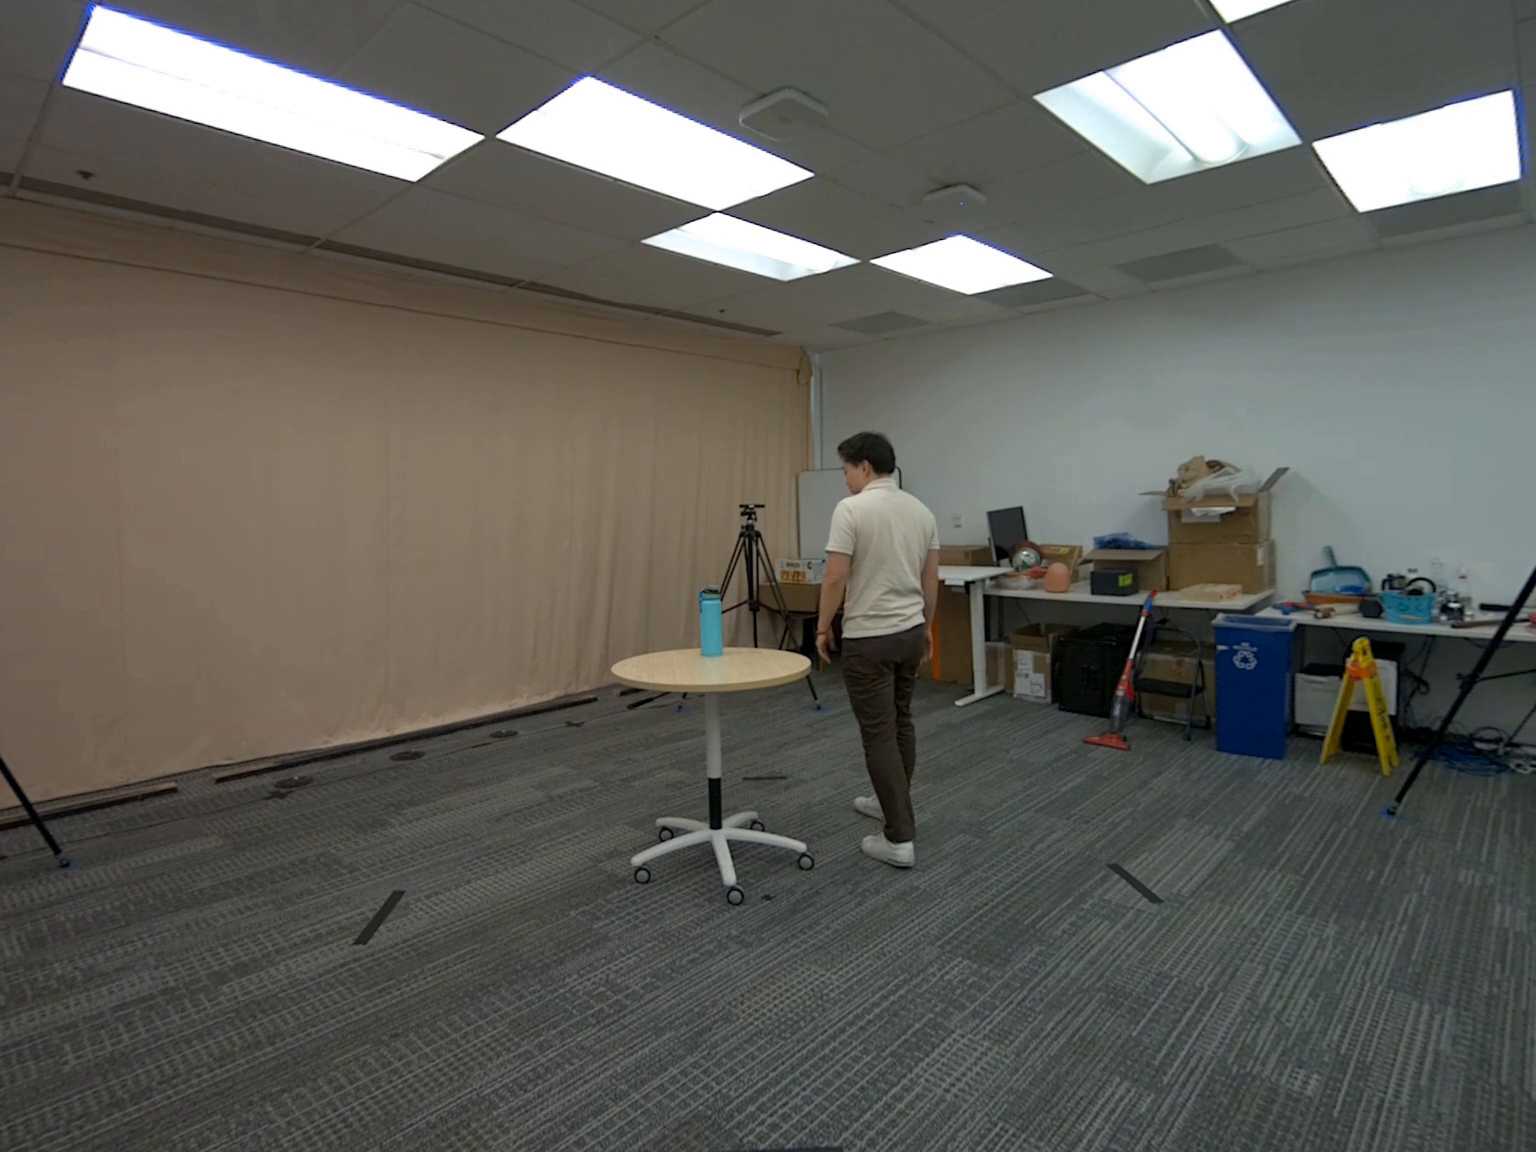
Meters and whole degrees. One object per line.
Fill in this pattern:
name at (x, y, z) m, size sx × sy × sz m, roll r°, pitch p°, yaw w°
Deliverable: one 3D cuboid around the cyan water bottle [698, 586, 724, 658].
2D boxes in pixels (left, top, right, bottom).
cyan water bottle at (-0.230, 0.185, 3.452) m, size 0.092 × 0.282 × 0.093 m, roll -2°, pitch 4°, yaw -2°
